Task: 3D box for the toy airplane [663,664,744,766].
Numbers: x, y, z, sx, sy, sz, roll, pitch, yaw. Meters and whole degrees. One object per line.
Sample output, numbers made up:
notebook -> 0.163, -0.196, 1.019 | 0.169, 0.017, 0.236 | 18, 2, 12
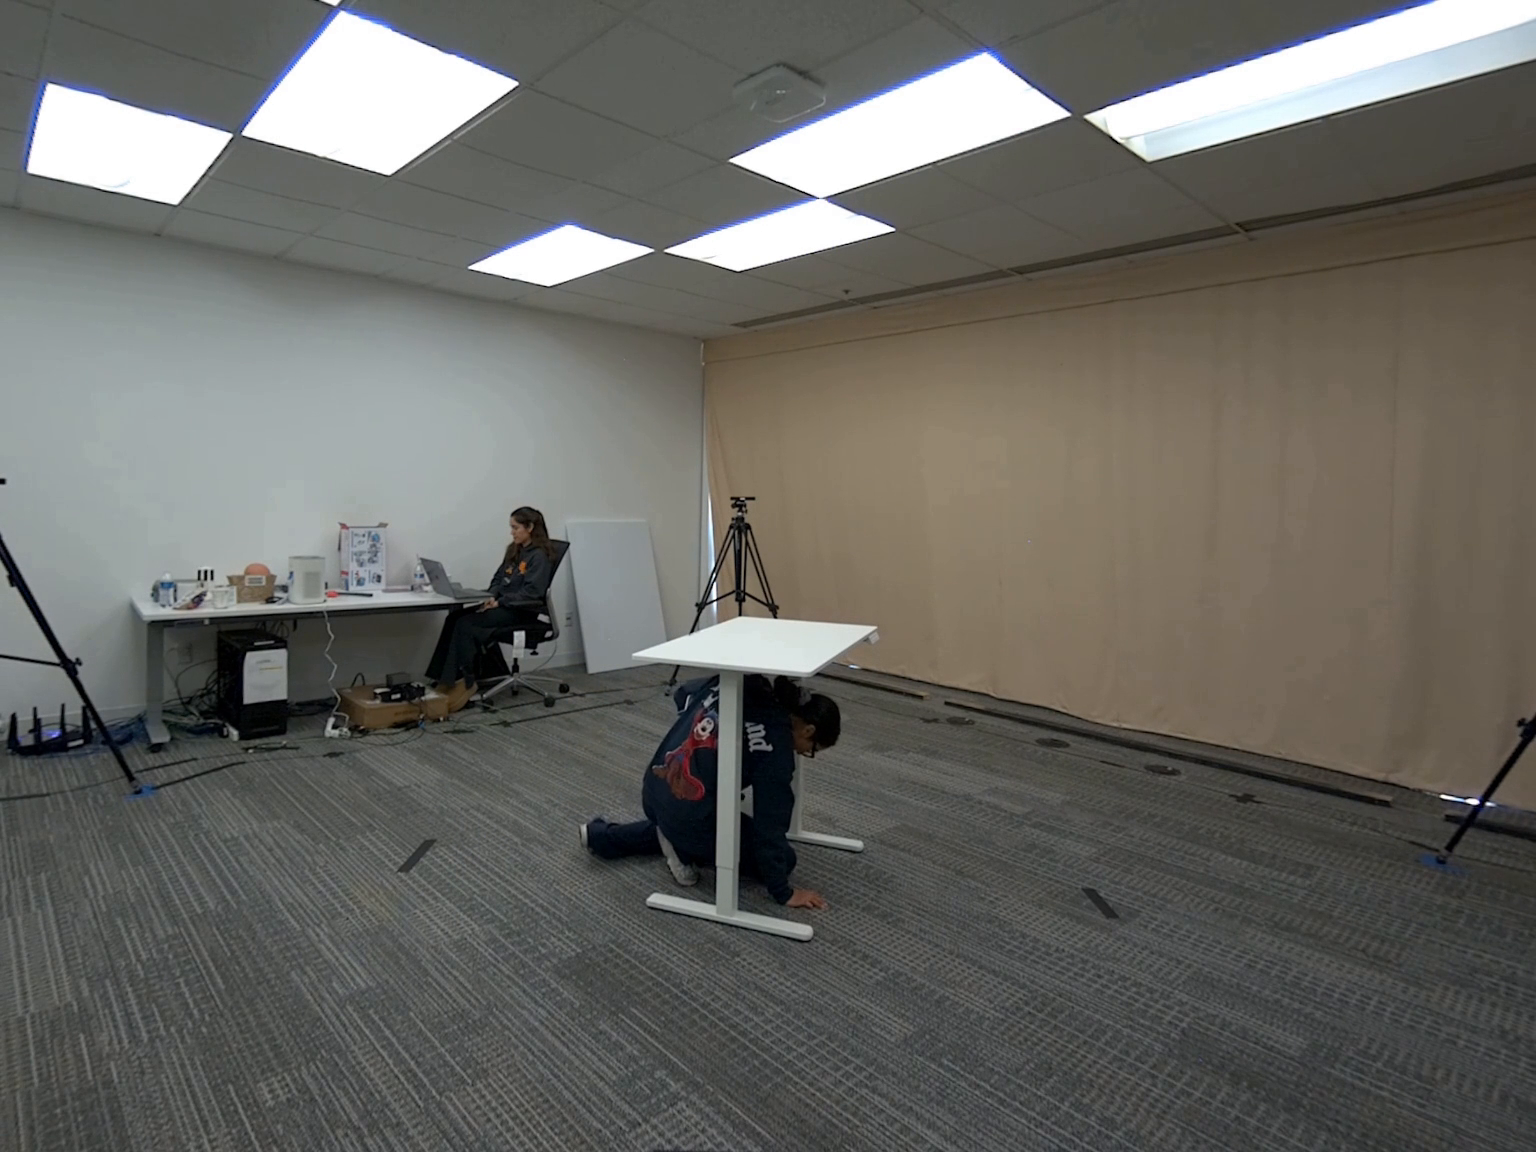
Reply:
toy airplane -> -0.200, 0.529, 3.193 | 0.250, 0.261, 0.156 | -41, -6, -41
